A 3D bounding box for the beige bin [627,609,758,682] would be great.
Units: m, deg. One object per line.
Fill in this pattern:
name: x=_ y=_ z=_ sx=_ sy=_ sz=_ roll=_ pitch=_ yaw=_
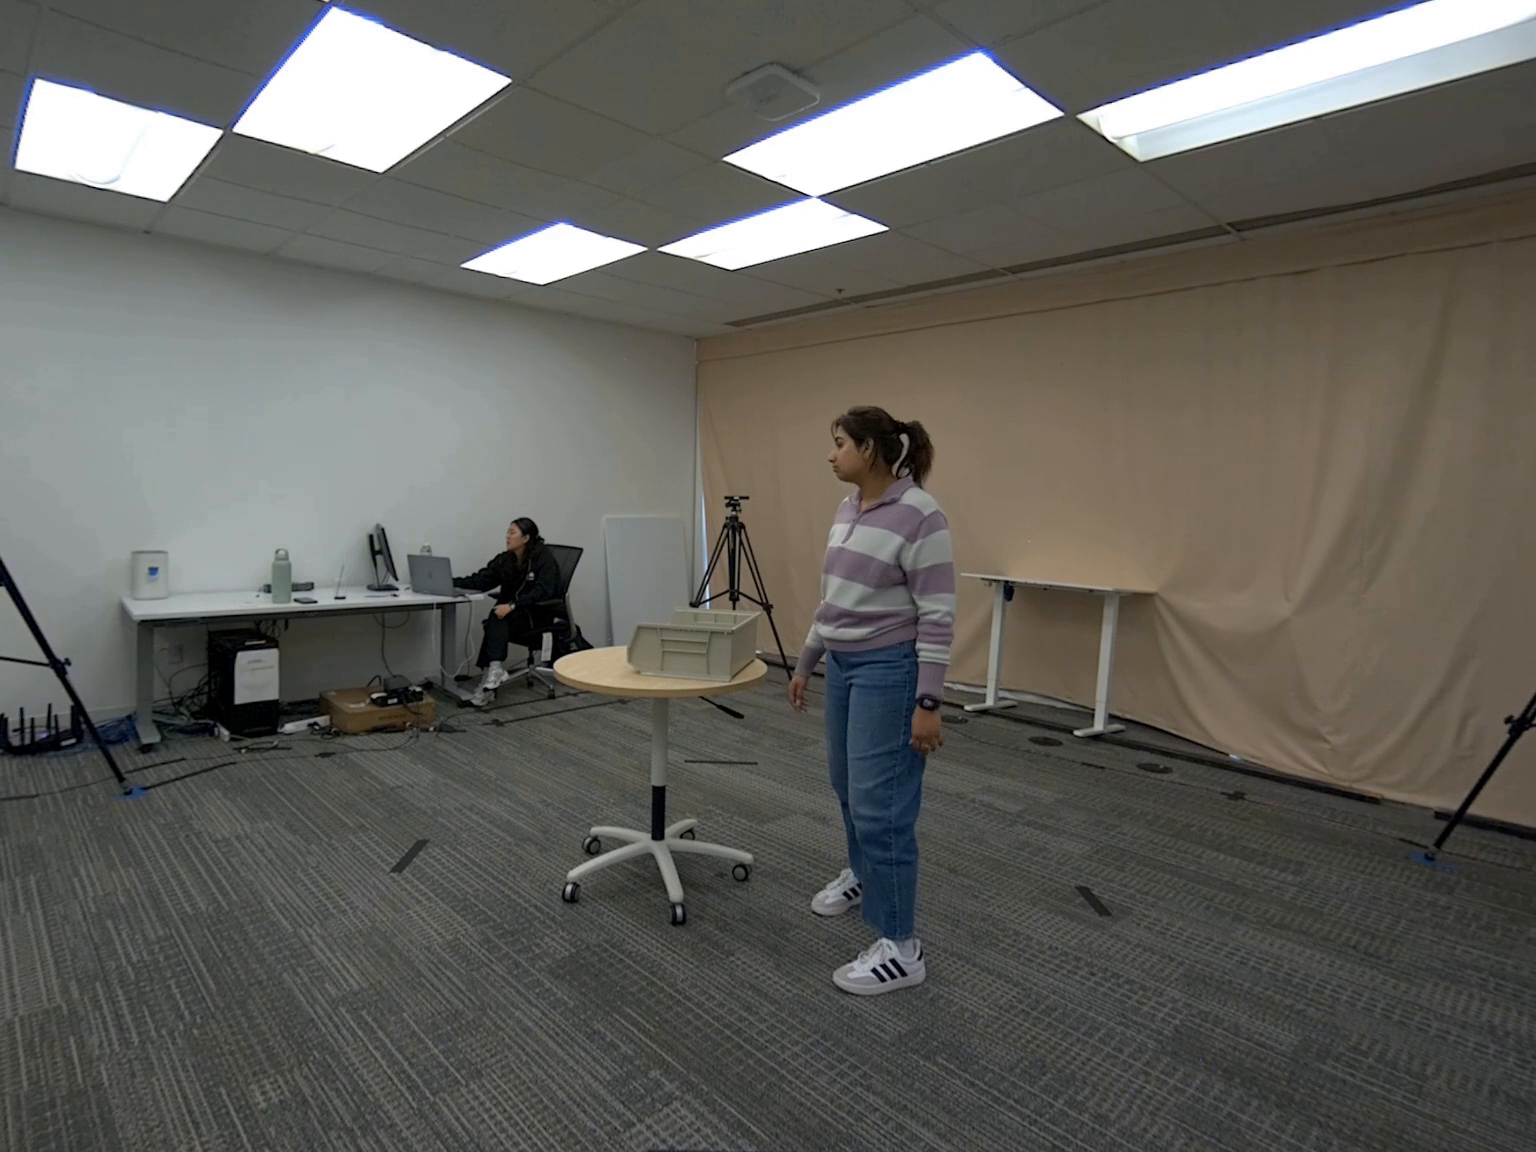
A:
beige bin: x=-0.280 y=0.237 z=3.015 sx=0.382 sy=0.188 sz=0.419 roll=5 pitch=6 yaw=13
